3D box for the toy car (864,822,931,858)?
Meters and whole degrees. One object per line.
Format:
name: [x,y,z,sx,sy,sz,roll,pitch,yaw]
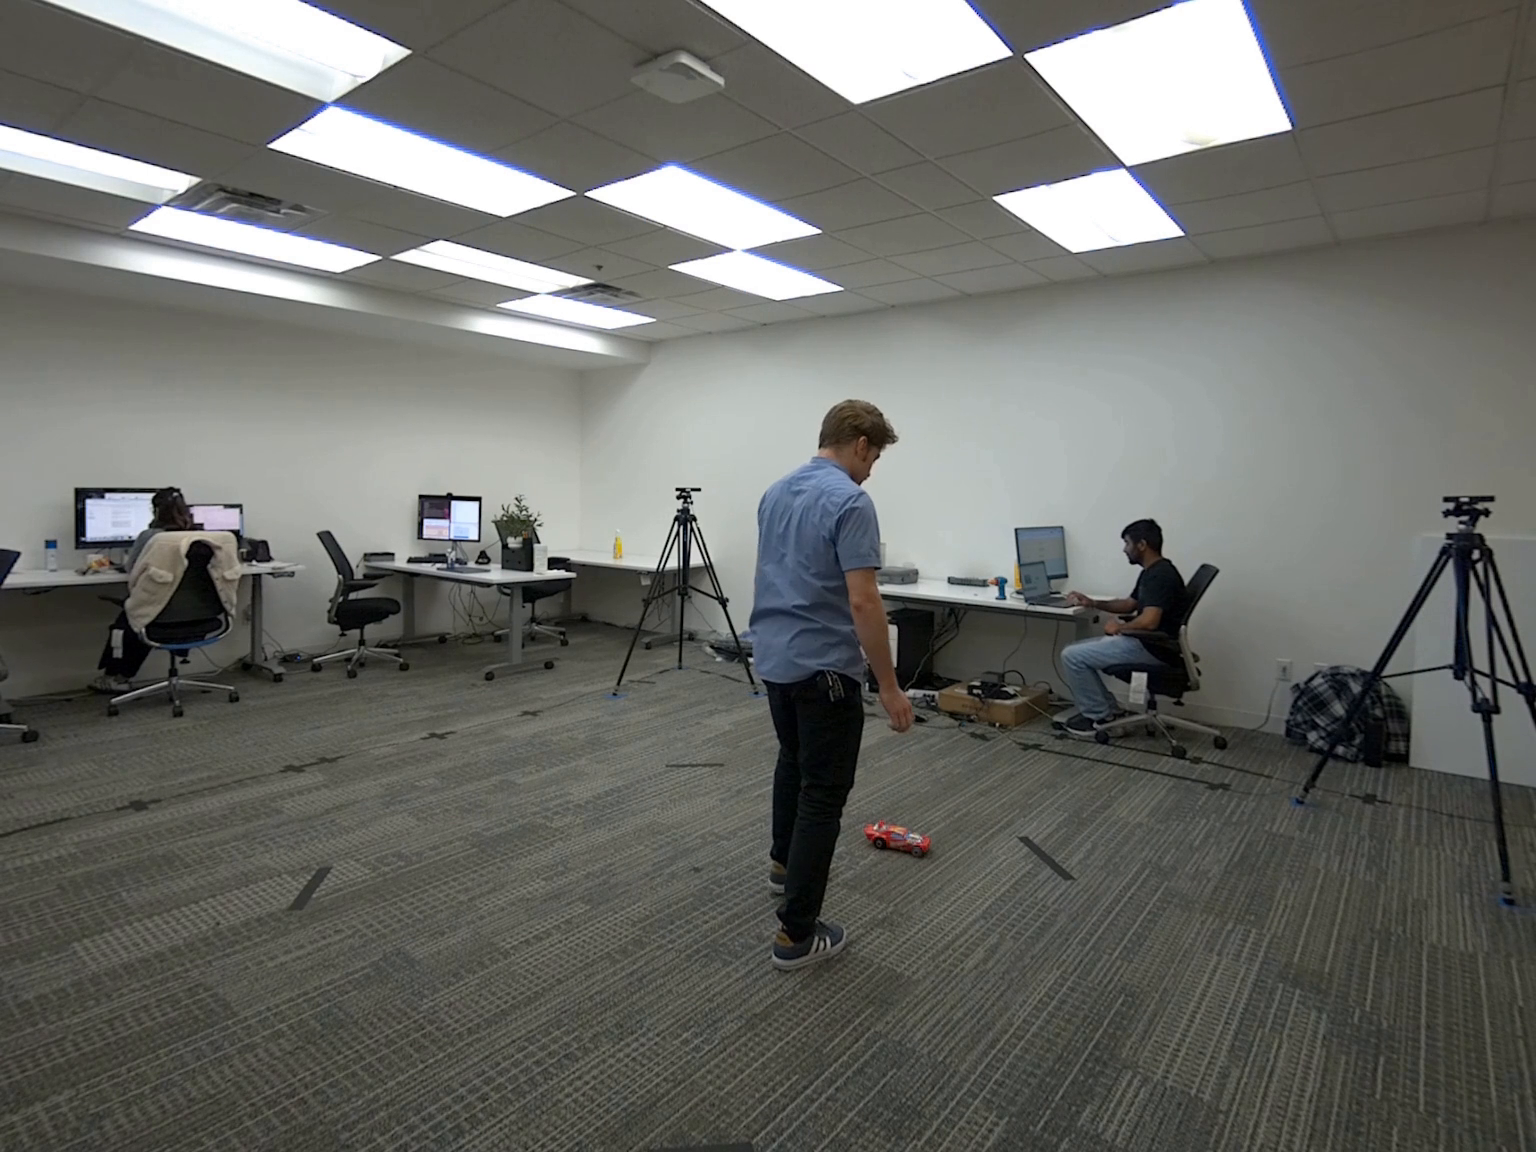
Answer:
toy car: [0.495,1.026,3.341,0.262,0.083,0.127,16,10,23]
